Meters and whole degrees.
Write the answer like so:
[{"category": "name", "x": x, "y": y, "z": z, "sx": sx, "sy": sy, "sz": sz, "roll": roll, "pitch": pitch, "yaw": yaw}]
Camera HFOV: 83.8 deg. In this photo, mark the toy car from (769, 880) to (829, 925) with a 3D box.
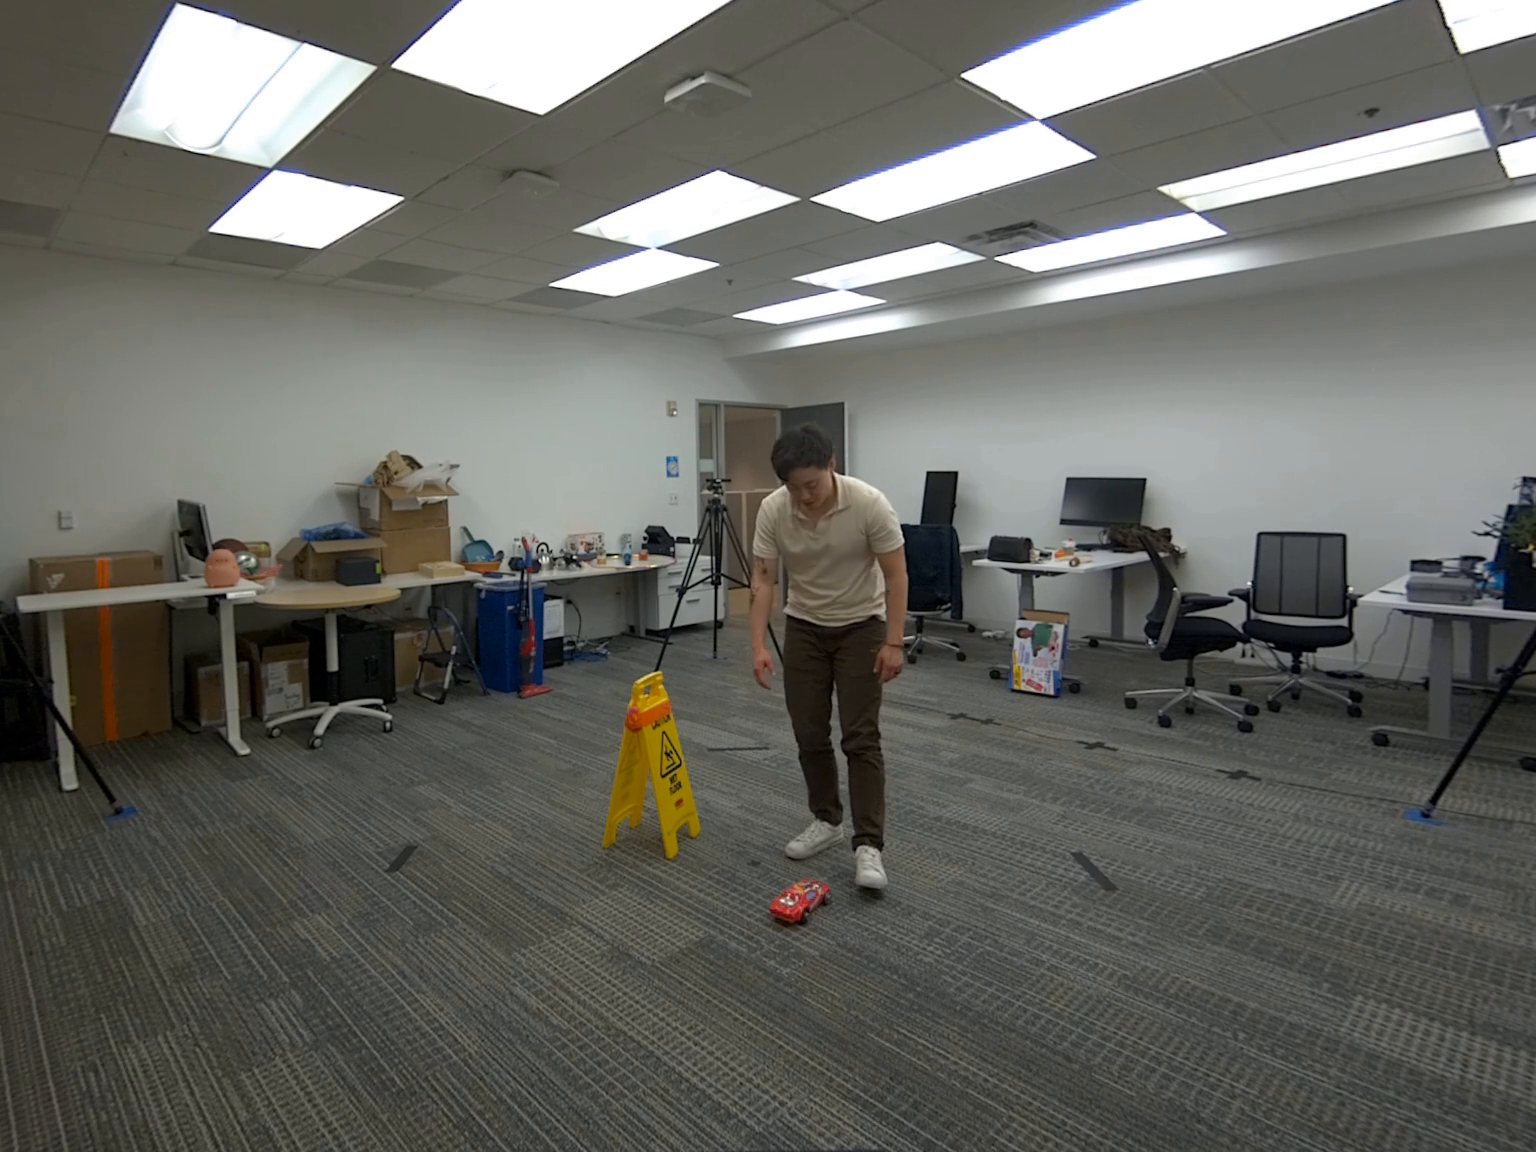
[{"category": "toy car", "x": 0.099, "y": 1.053, "z": 2.750, "sx": 0.134, "sy": 0.083, "sz": 0.246, "roll": 4, "pitch": -3, "yaw": 34}]
